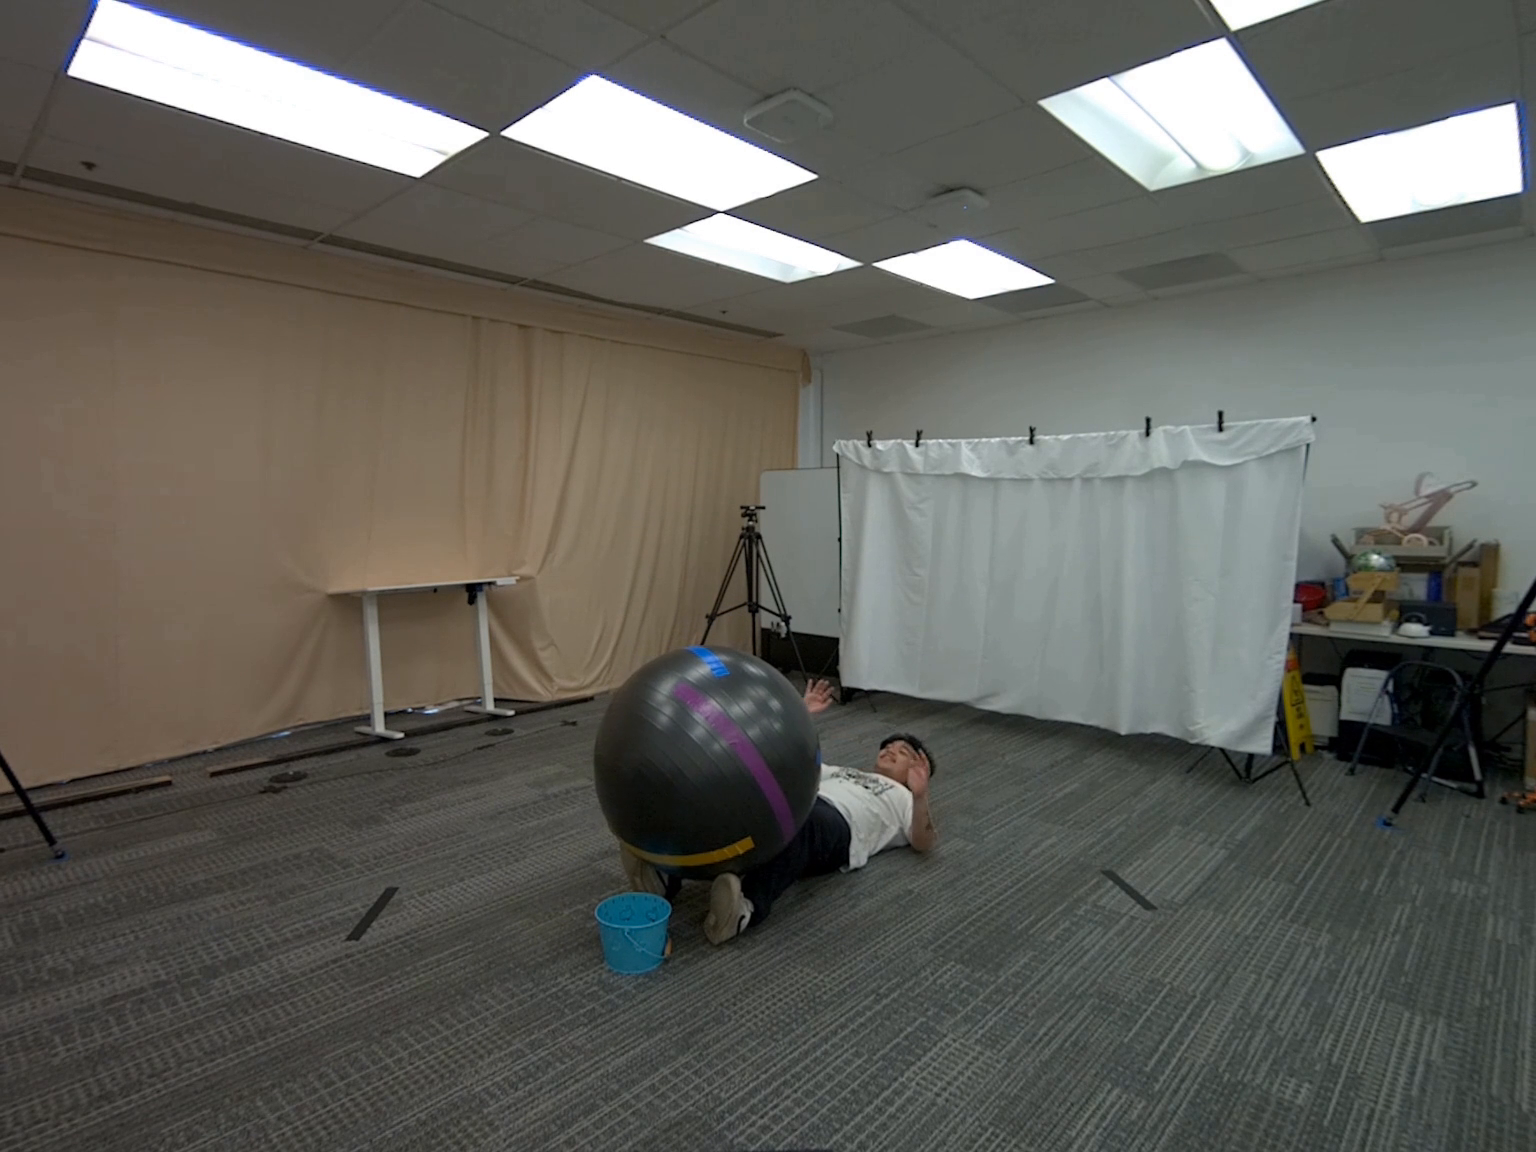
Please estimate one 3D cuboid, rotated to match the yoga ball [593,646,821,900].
[{"bbox_3d":[-0.199,0.612,2.822,0.757,0.756,0.760,0,4,-2],"label":"yoga ball"}]
